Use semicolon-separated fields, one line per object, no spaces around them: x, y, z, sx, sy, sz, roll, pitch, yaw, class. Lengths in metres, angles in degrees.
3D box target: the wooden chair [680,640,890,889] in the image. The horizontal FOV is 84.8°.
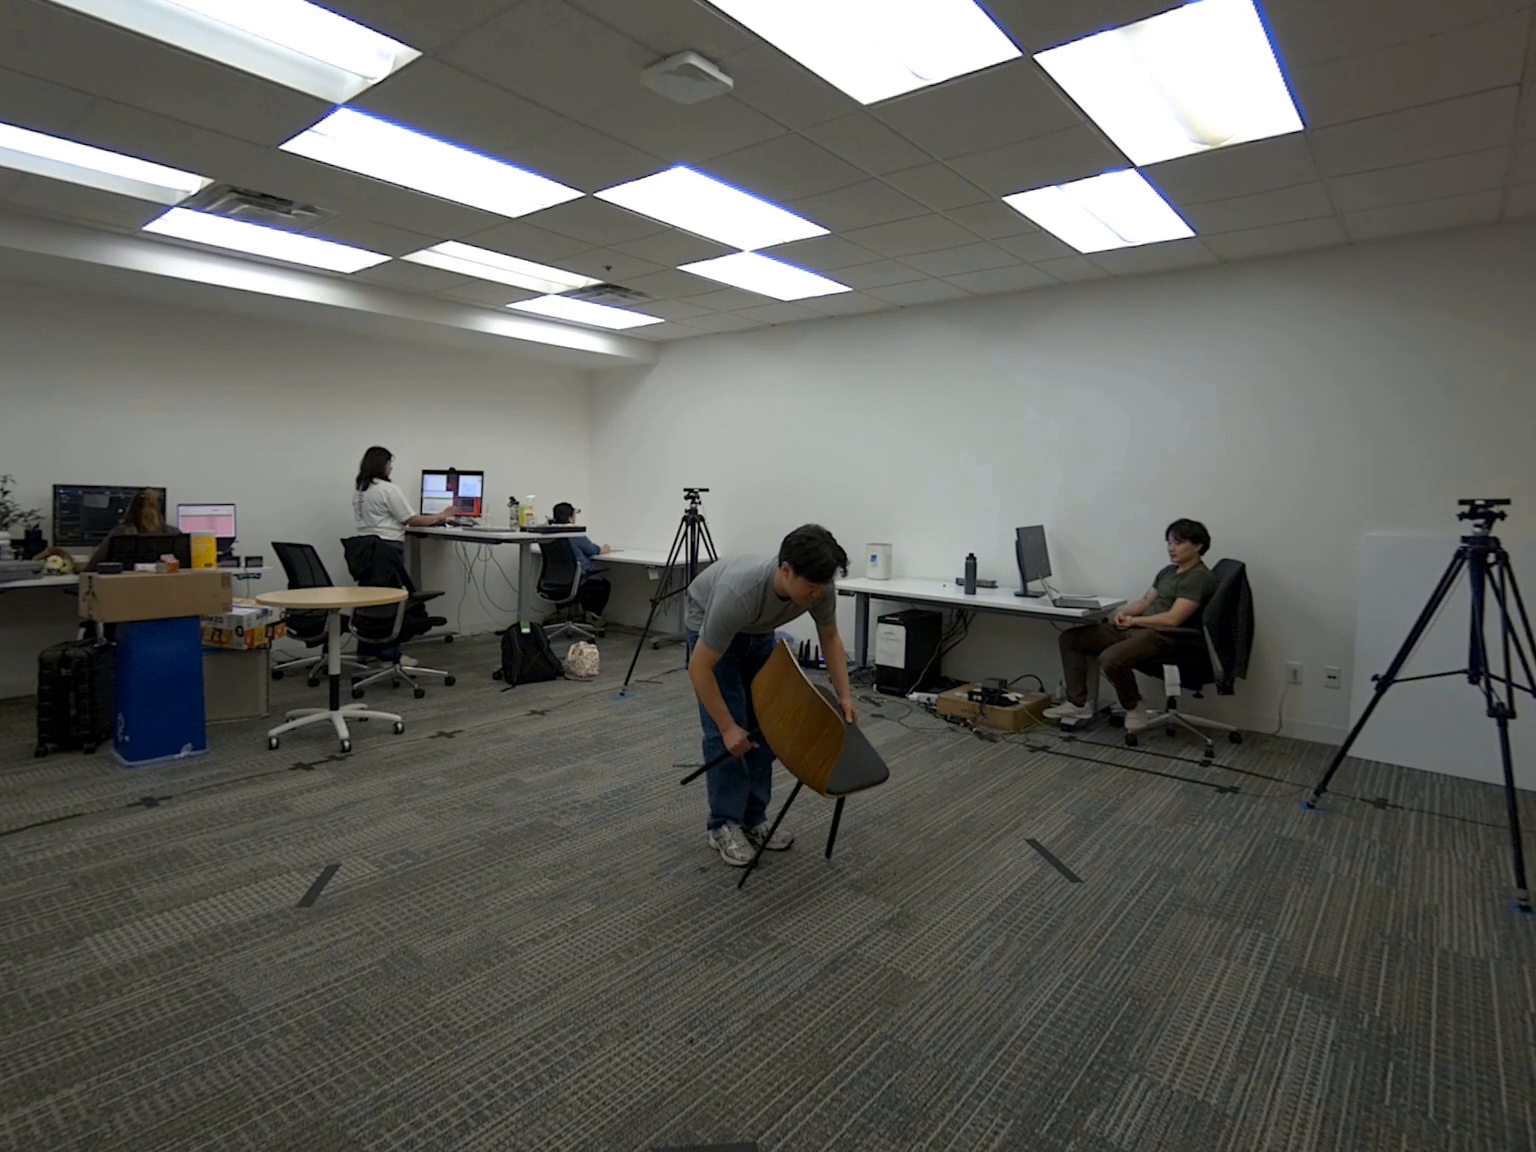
0.126;0.604;3.003;0.508;0.867;0.498;-5;43;-38;wooden chair
